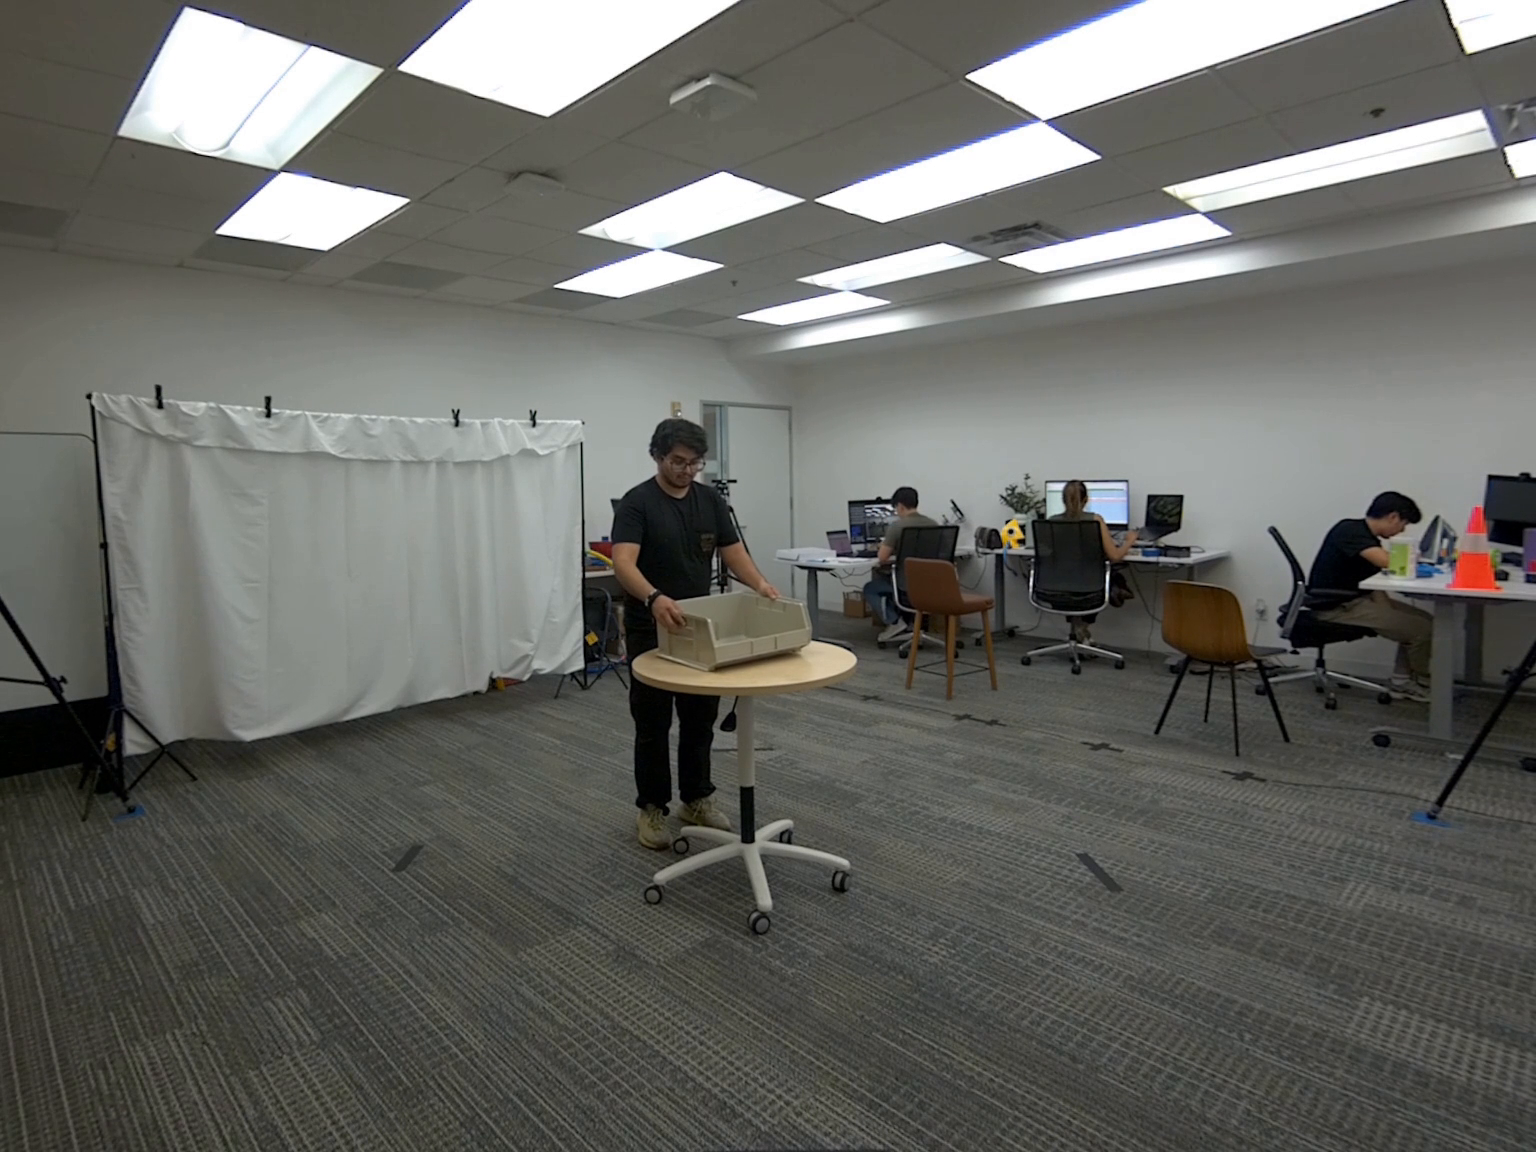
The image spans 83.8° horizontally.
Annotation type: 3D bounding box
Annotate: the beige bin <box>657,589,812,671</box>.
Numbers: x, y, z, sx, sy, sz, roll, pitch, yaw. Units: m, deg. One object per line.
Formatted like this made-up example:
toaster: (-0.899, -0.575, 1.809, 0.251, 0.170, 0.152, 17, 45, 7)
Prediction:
beige bin: (-0.127, 0.183, 2.972, 0.412, 0.188, 0.389, -8, 8, -37)
